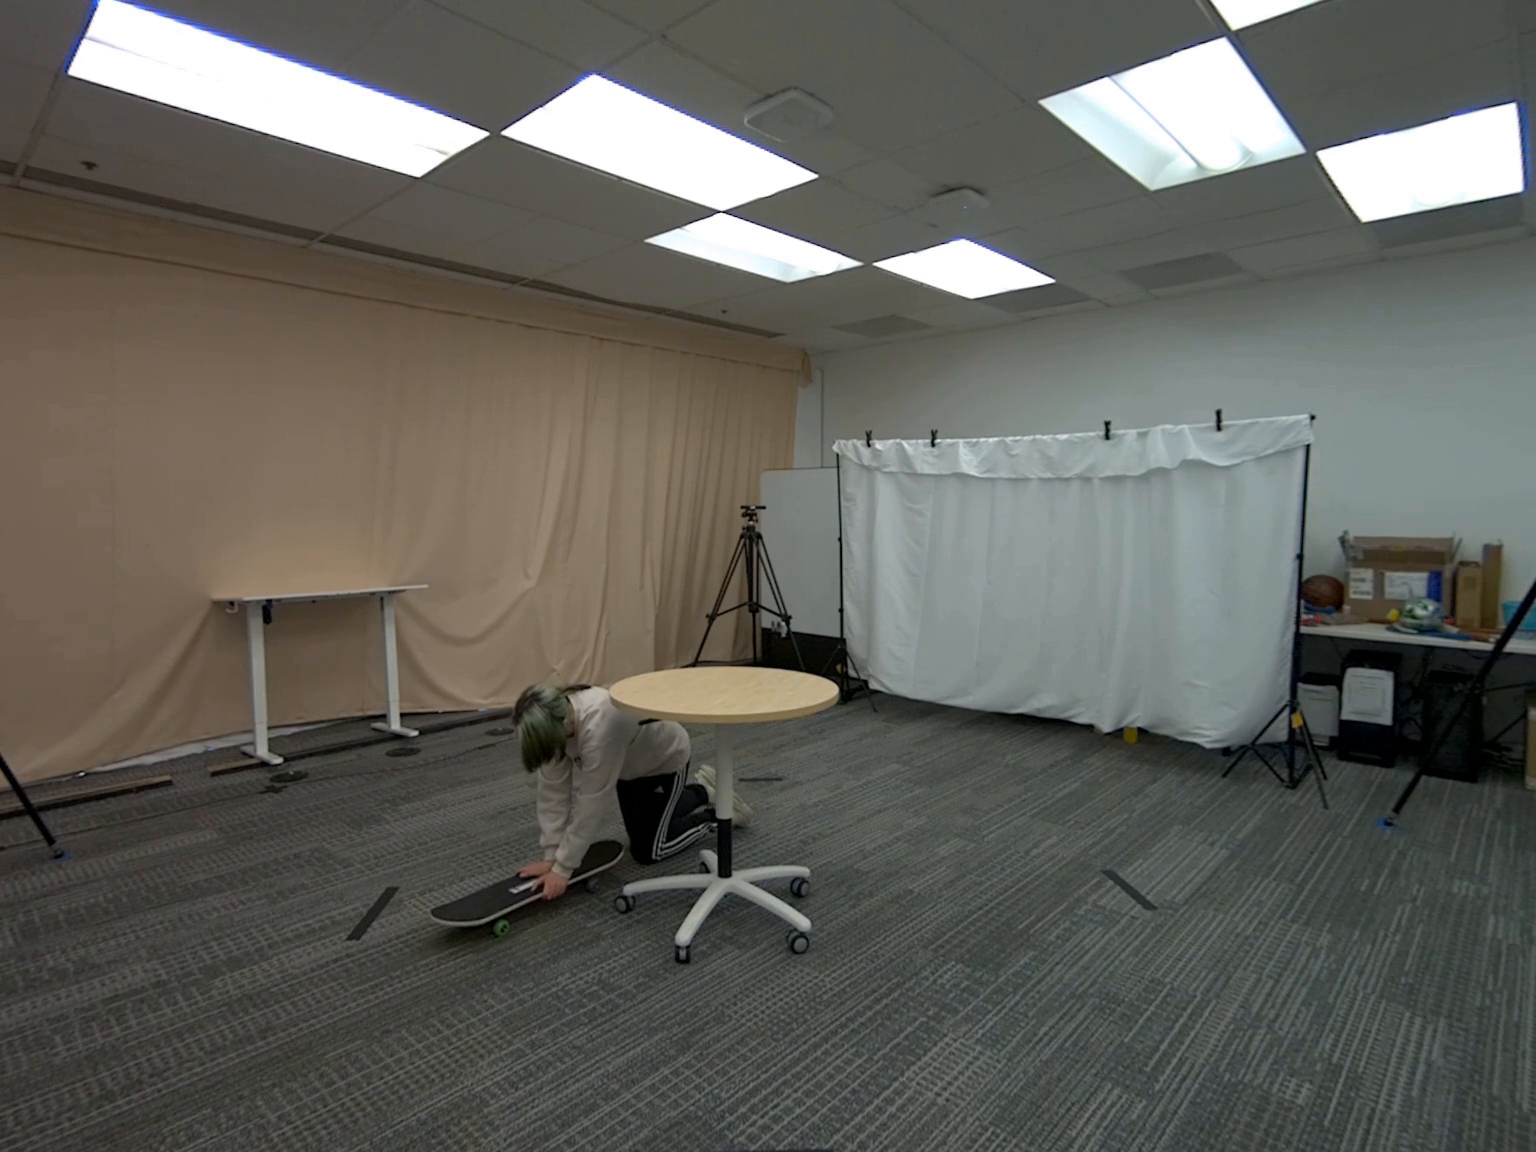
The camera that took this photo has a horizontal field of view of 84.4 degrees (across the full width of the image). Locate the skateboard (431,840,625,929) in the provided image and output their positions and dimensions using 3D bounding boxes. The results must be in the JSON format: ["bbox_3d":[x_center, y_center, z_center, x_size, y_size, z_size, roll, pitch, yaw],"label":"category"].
[{"bbox_3d":[-0.813,1.099,2.940,0.200,0.110,0.762,1,4,38],"label":"skateboard"}]
